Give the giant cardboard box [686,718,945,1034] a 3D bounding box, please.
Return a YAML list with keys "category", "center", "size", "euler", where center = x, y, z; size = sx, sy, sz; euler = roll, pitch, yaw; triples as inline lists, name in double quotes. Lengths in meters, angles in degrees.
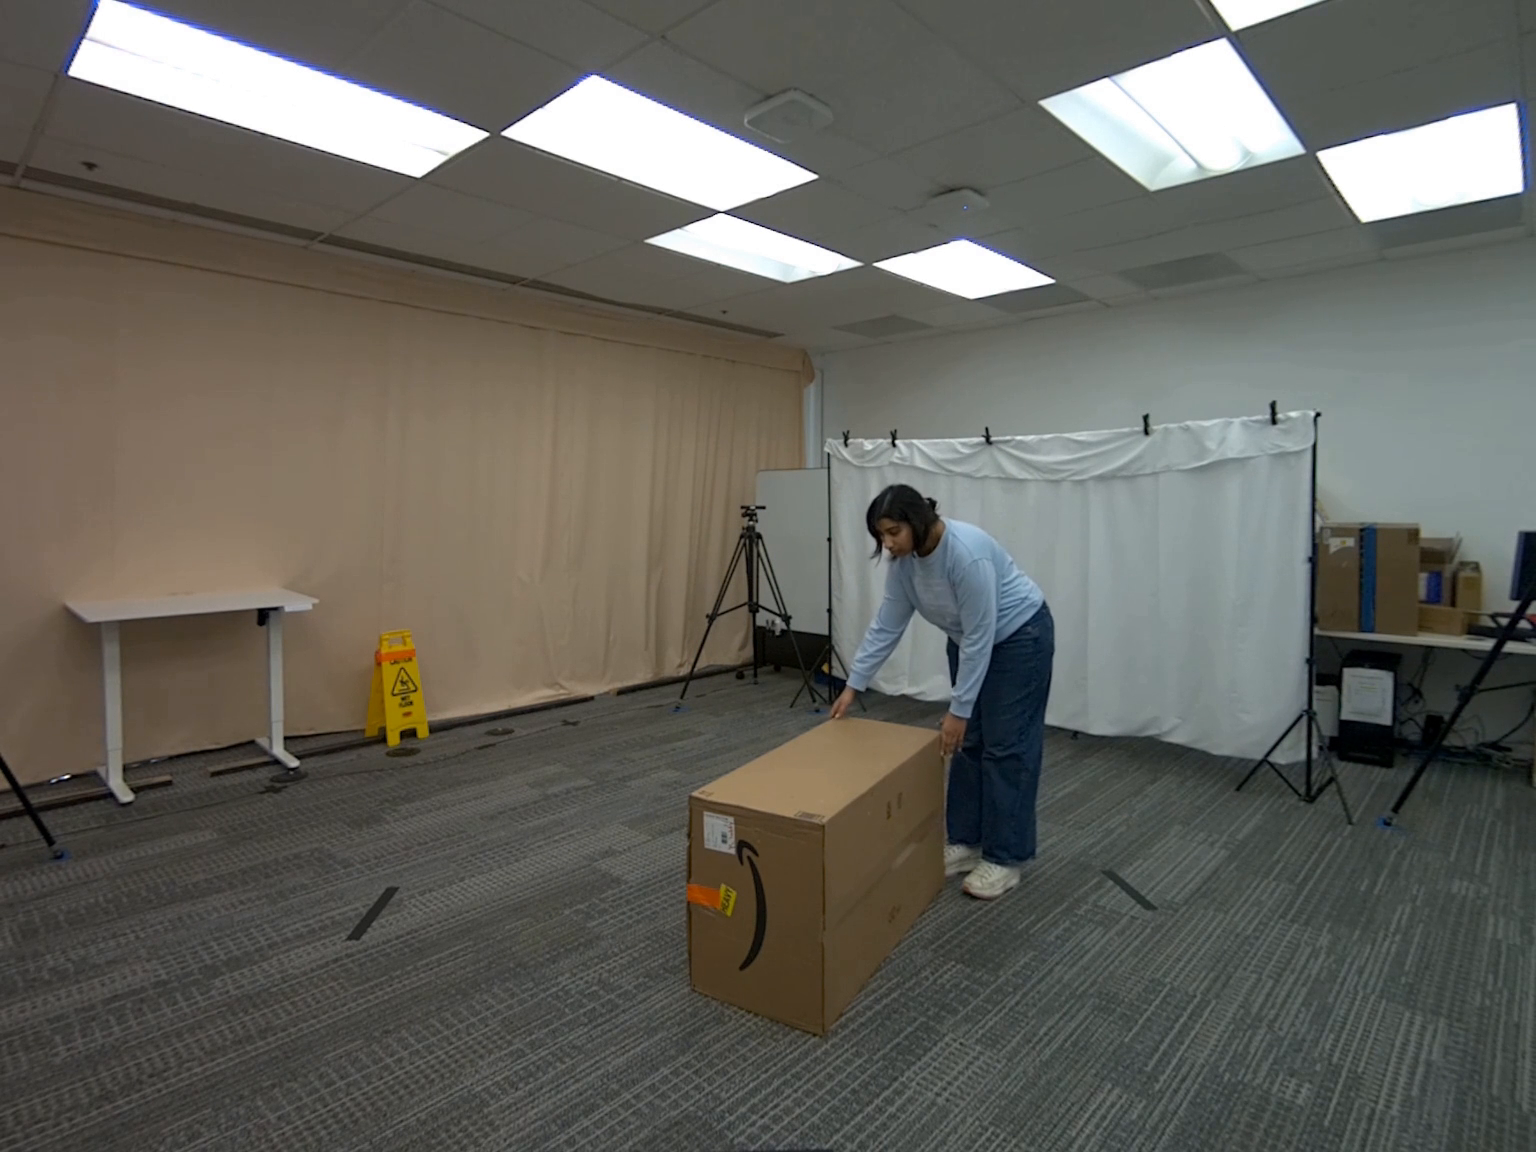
- category: "giant cardboard box"
  center: [0.203, 0.880, 2.723]
  size: [0.460, 0.582, 0.999]
  euler: [3, 5, 30]
